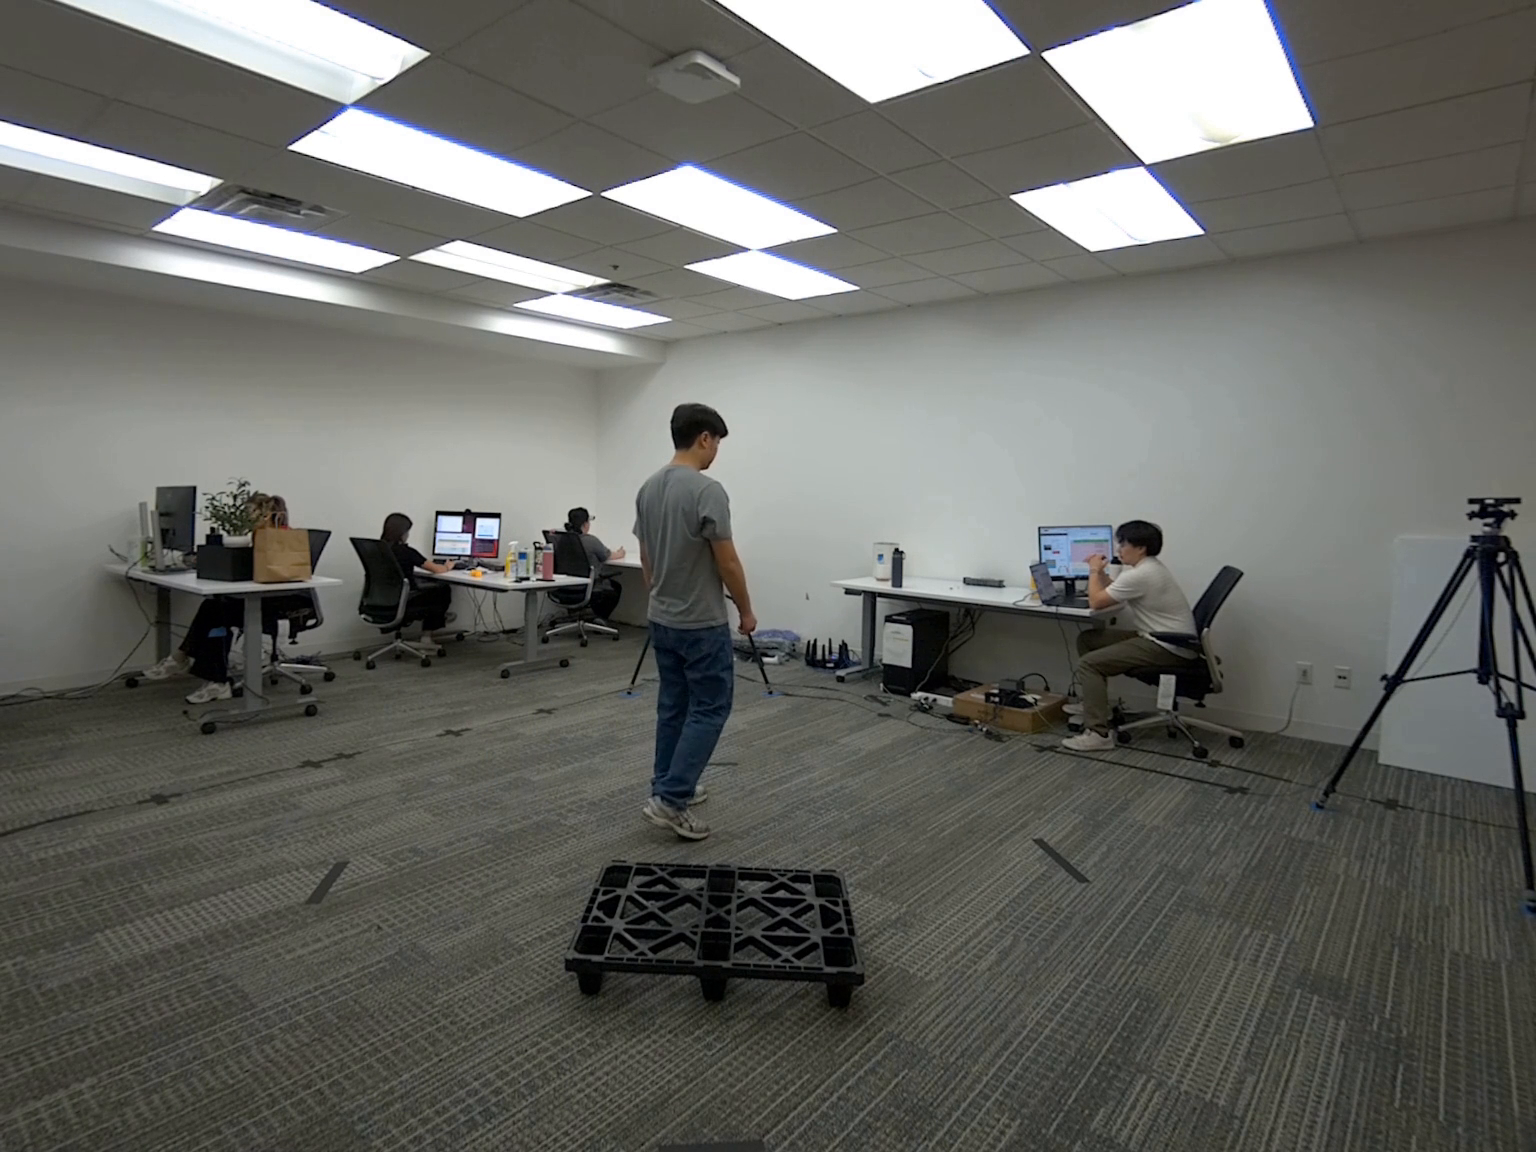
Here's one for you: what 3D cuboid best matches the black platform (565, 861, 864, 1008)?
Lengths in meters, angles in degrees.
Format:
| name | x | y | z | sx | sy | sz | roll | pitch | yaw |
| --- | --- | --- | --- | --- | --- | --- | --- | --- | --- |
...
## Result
| name | x | y | z | sx | sy | sz | roll | pitch | yaw |
| --- | --- | --- | --- | --- | --- | --- | --- | --- | --- |
| black platform | -0.159 | 1.052 | 2.537 | 0.808 | 0.143 | 0.606 | 2 | 5 | 1 |
